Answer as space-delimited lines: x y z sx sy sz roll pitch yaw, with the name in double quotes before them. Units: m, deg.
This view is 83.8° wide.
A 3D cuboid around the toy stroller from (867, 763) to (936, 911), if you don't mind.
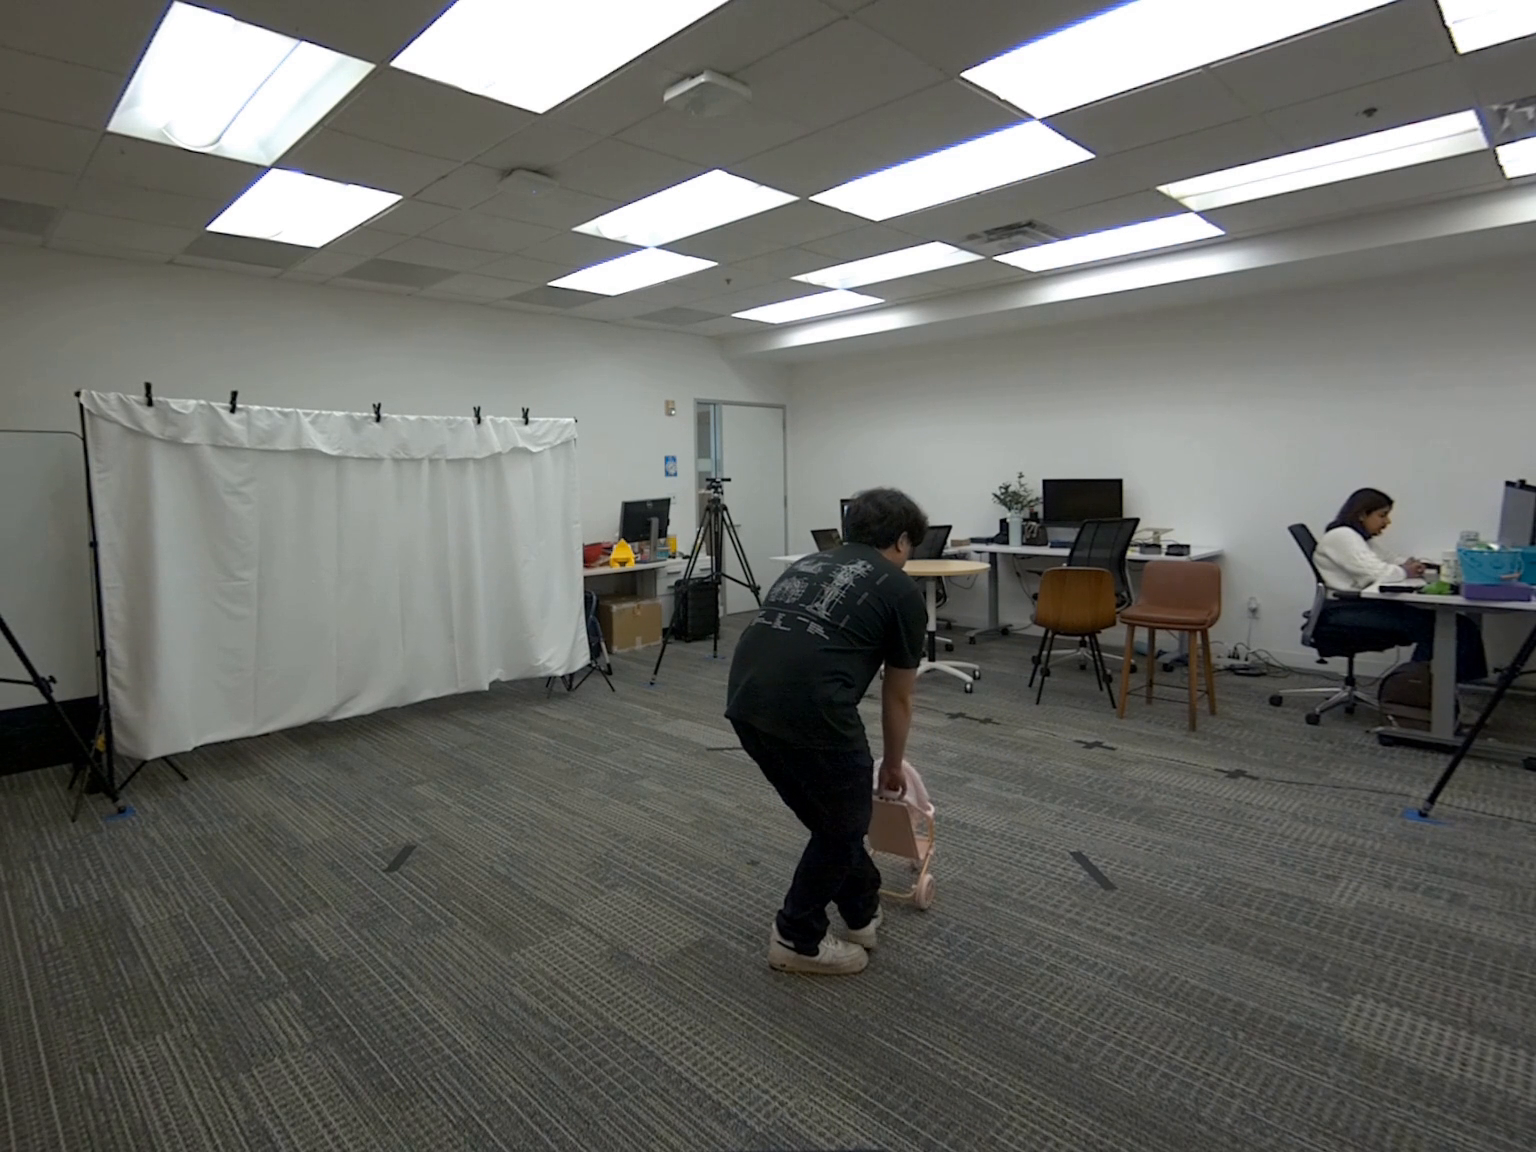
"toy stroller" 0.437 0.839 2.862 0.289 0.526 0.338 2 21 34
